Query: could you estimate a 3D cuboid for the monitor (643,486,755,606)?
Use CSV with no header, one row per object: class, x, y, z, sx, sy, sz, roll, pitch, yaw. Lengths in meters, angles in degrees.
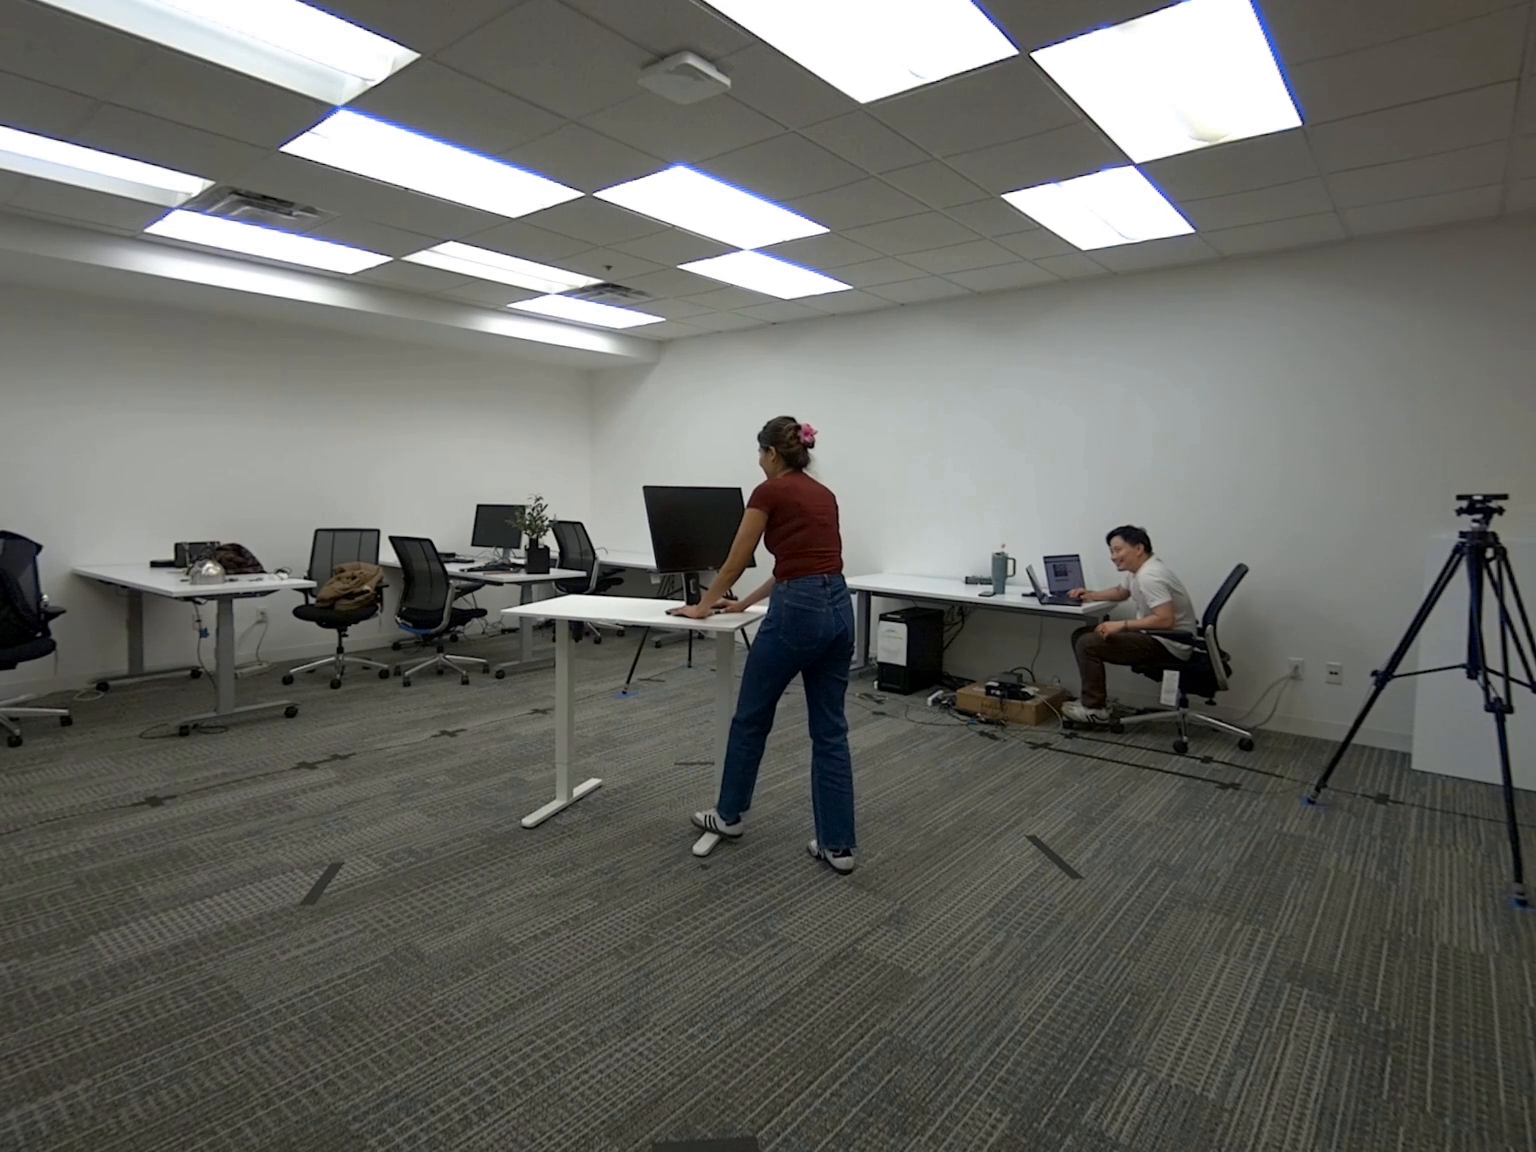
monitor,-0.303,-0.106,3.476,0.193,0.522,0.523,0,2,42
